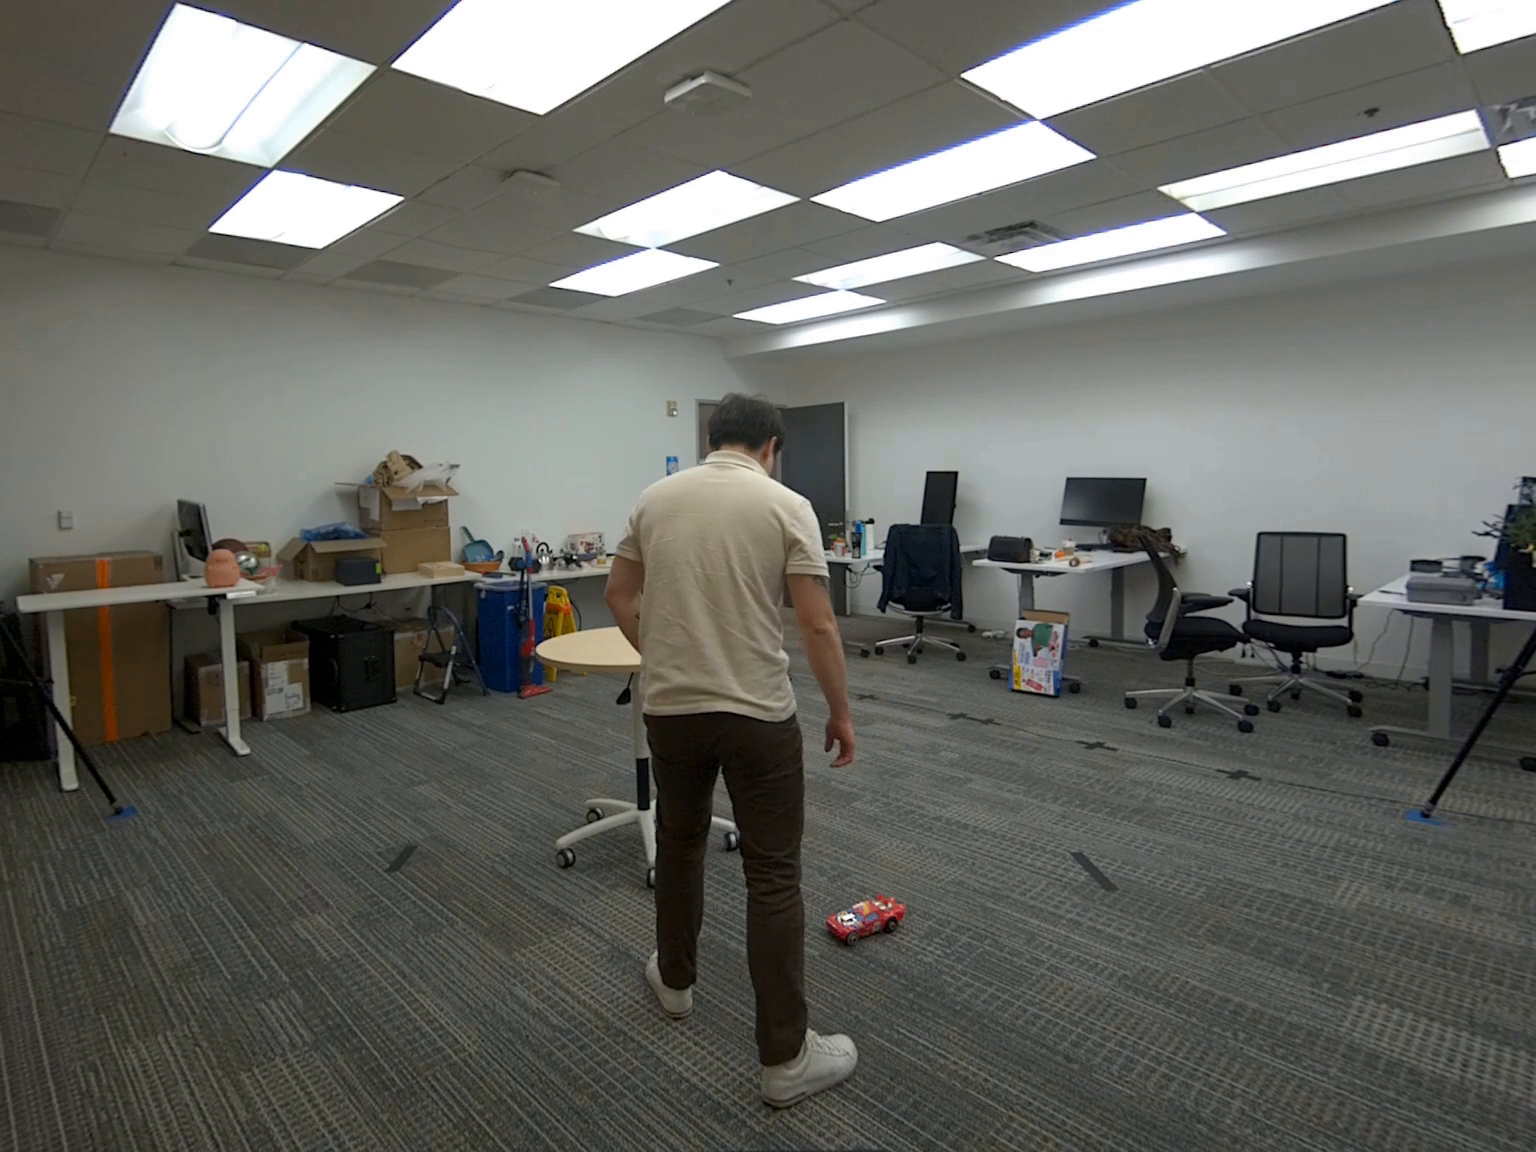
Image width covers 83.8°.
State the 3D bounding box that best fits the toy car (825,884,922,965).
[{"bbox_3d":[0.323,1.063,2.631,0.250,0.082,0.134,-17,13,-27],"label":"toy car"}]
